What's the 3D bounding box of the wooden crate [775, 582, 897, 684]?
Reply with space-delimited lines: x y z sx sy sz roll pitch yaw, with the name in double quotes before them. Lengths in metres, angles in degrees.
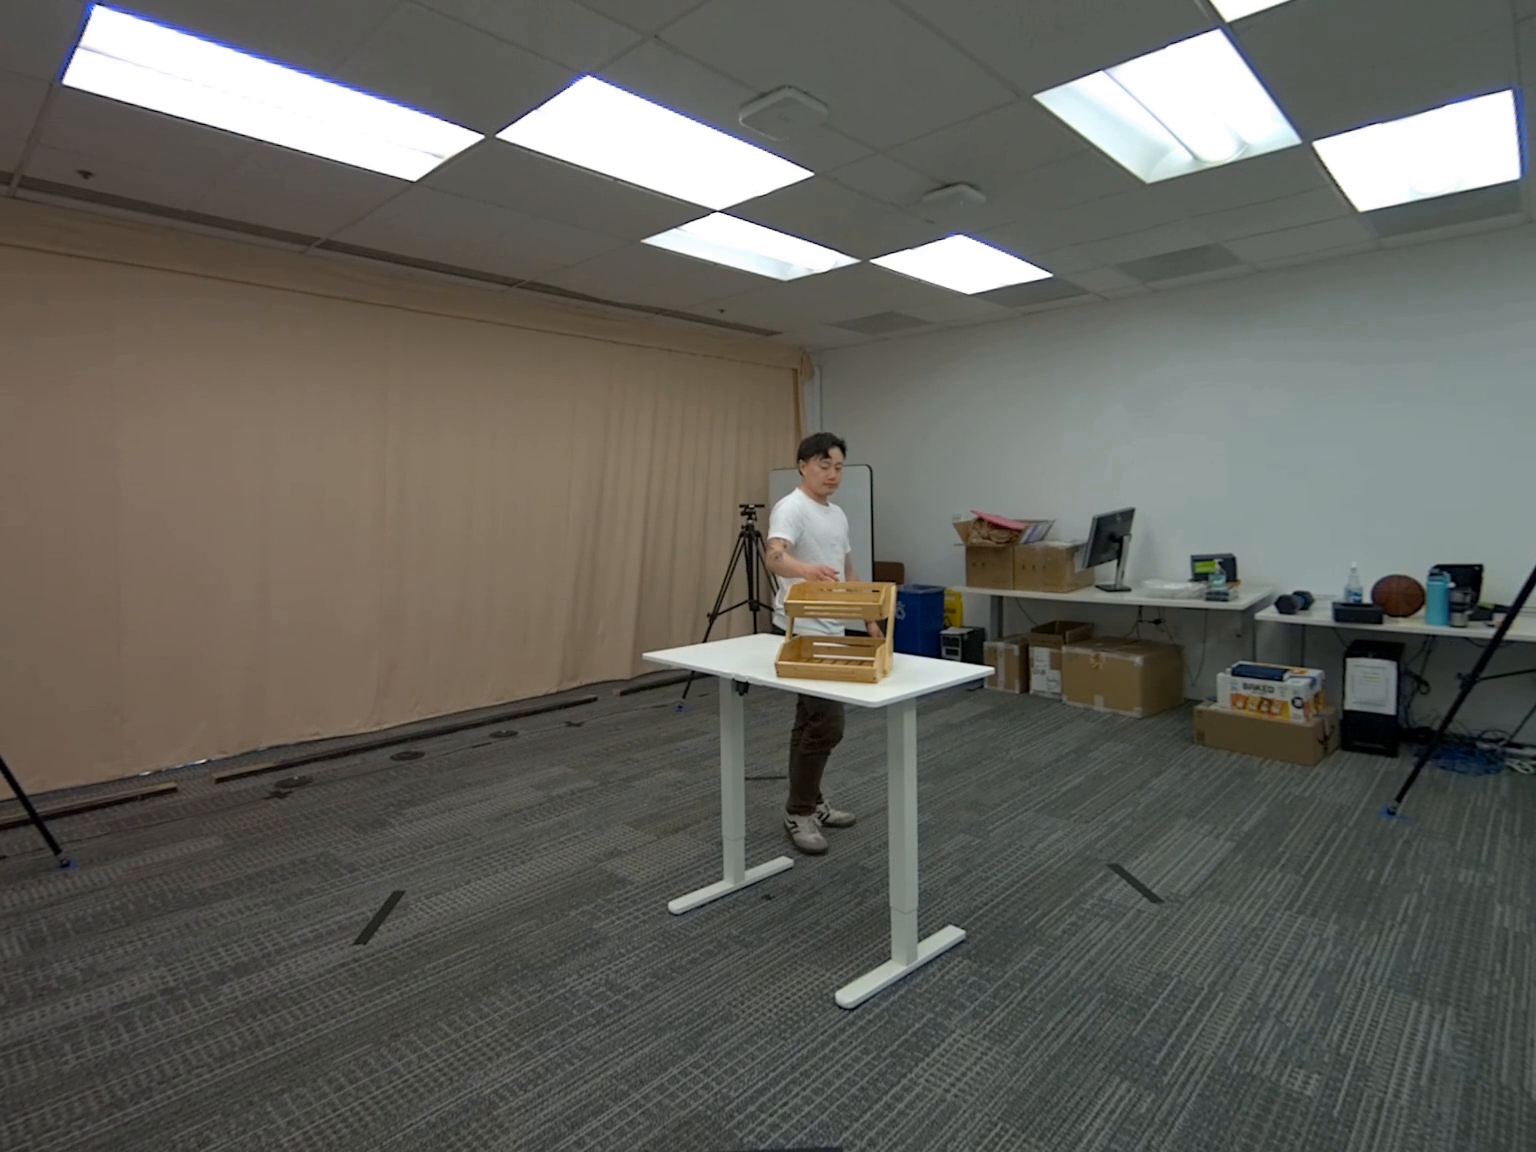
"wooden crate" 0.212 0.159 2.555 0.332 0.273 0.296 1 4 21
